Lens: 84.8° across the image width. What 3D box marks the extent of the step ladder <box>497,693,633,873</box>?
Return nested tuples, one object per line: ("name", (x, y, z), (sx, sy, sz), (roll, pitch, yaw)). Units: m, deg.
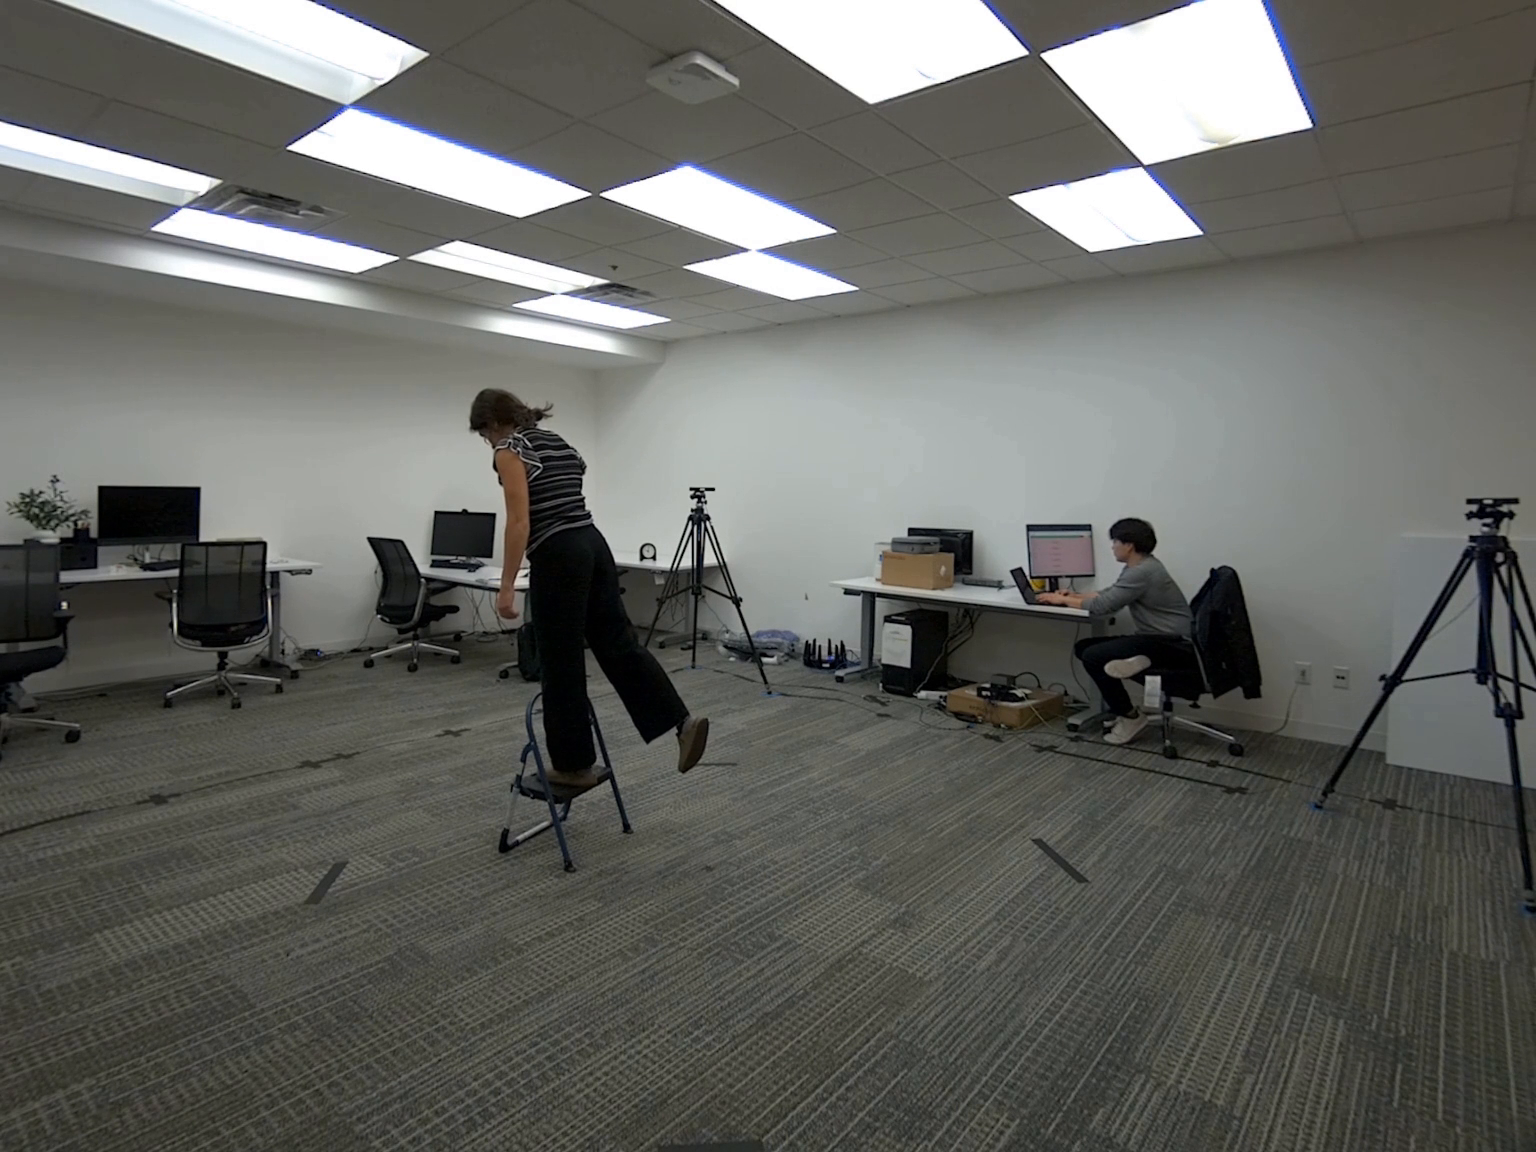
("step ladder", (-0.790, 0.737, 3.310), (0.358, 0.604, 0.421), (3, 3, 24))
